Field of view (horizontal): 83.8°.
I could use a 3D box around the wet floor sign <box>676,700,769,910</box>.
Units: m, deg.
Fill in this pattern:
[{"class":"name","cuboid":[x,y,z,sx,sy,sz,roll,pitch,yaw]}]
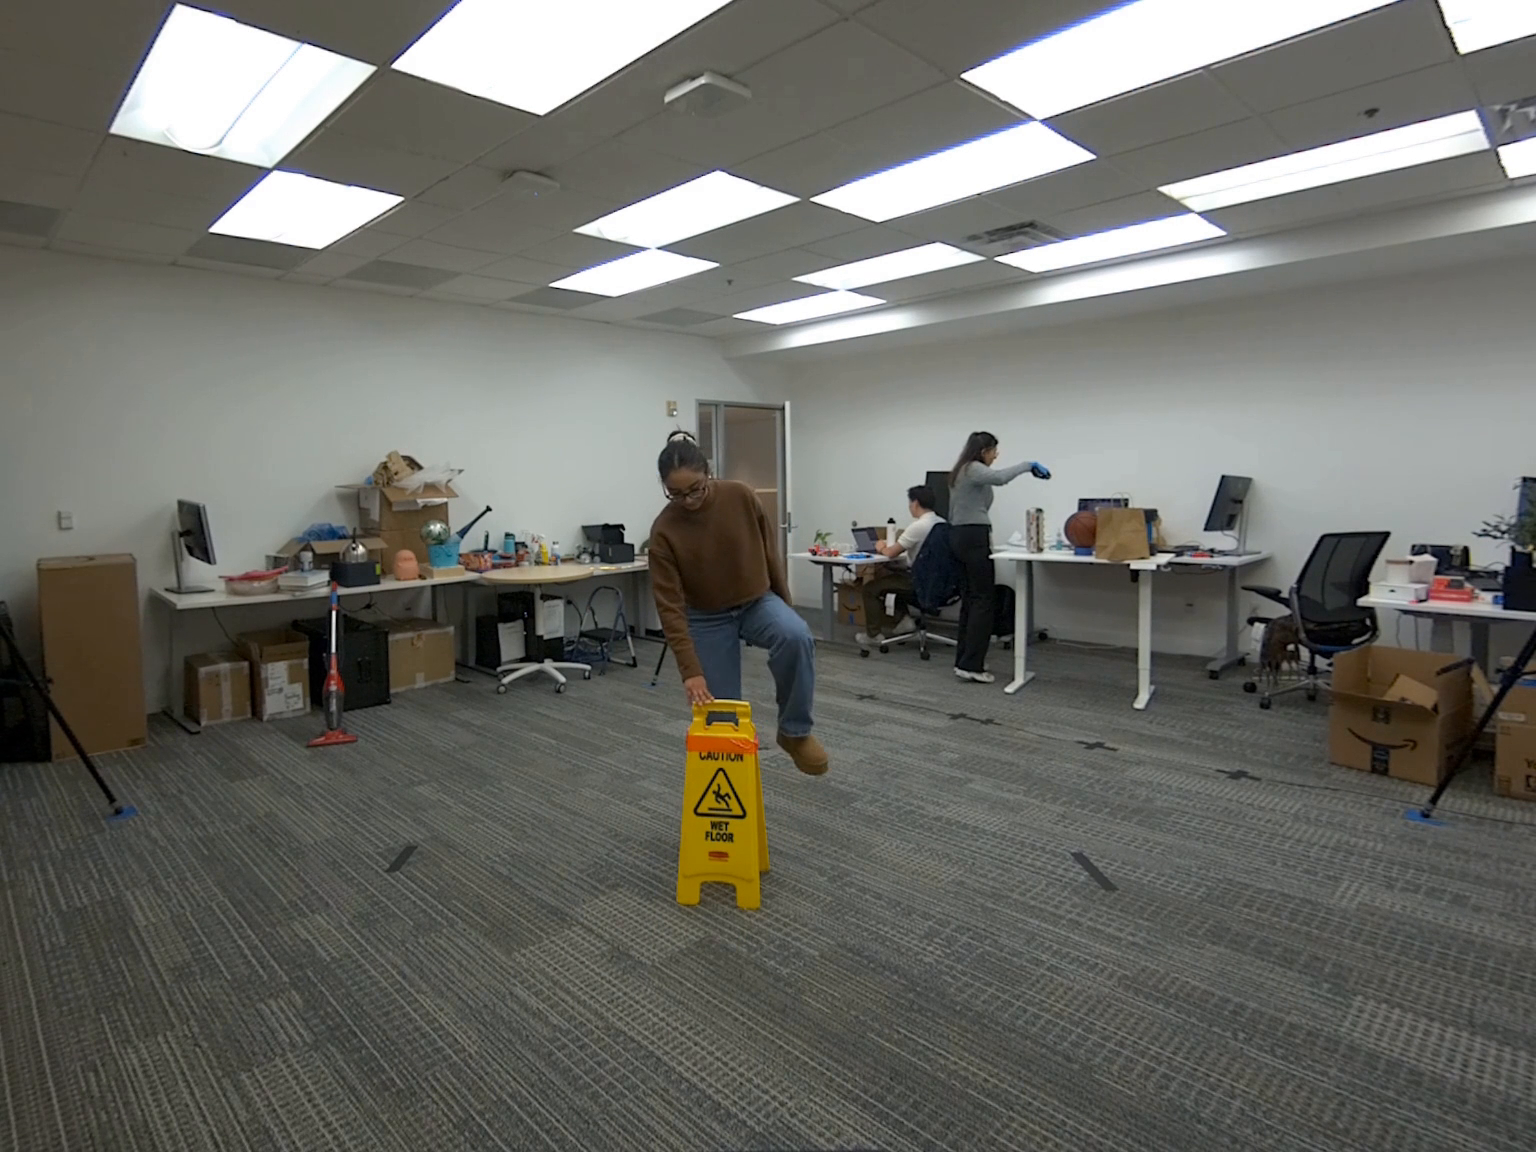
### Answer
[{"class":"wet floor sign","cuboid":[-0.143,0.753,2.912,0.285,0.643,0.288,0,5,8]}]
